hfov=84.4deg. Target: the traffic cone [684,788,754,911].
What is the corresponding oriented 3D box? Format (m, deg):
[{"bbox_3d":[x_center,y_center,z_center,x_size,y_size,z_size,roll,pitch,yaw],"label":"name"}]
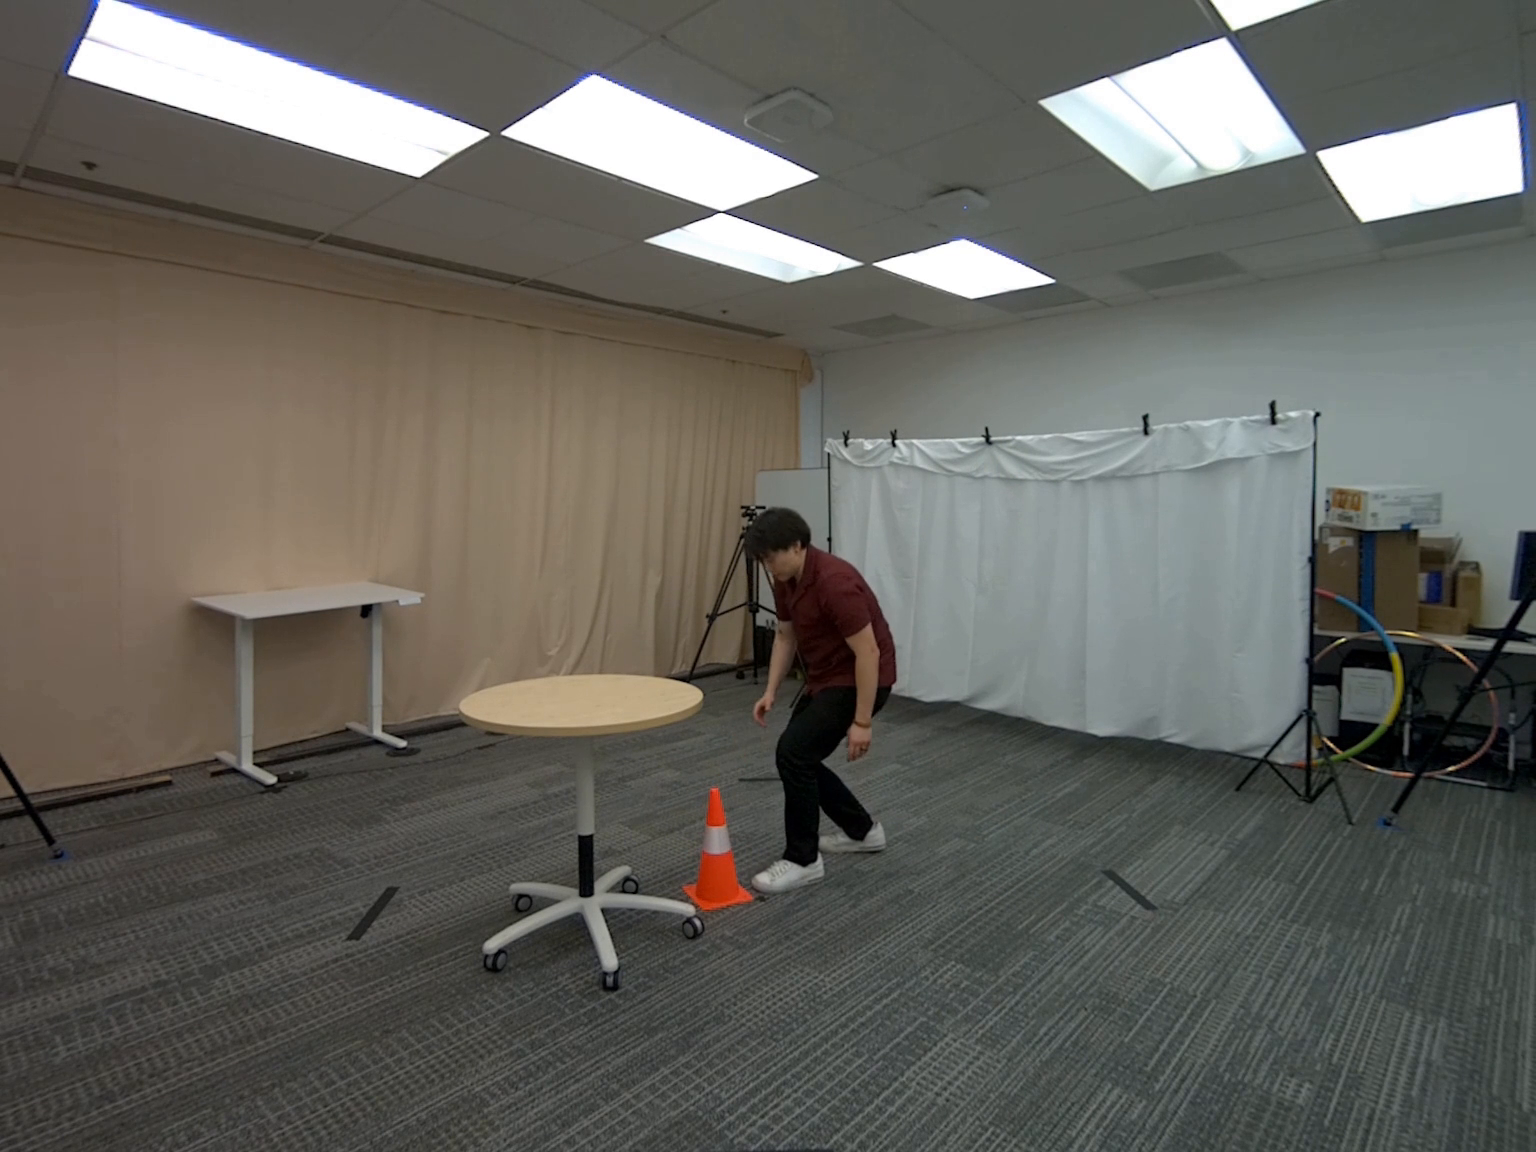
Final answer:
[{"bbox_3d":[-0.177,0.956,3.020,0.198,0.383,0.211,-2,3,-29],"label":"traffic cone"}]
